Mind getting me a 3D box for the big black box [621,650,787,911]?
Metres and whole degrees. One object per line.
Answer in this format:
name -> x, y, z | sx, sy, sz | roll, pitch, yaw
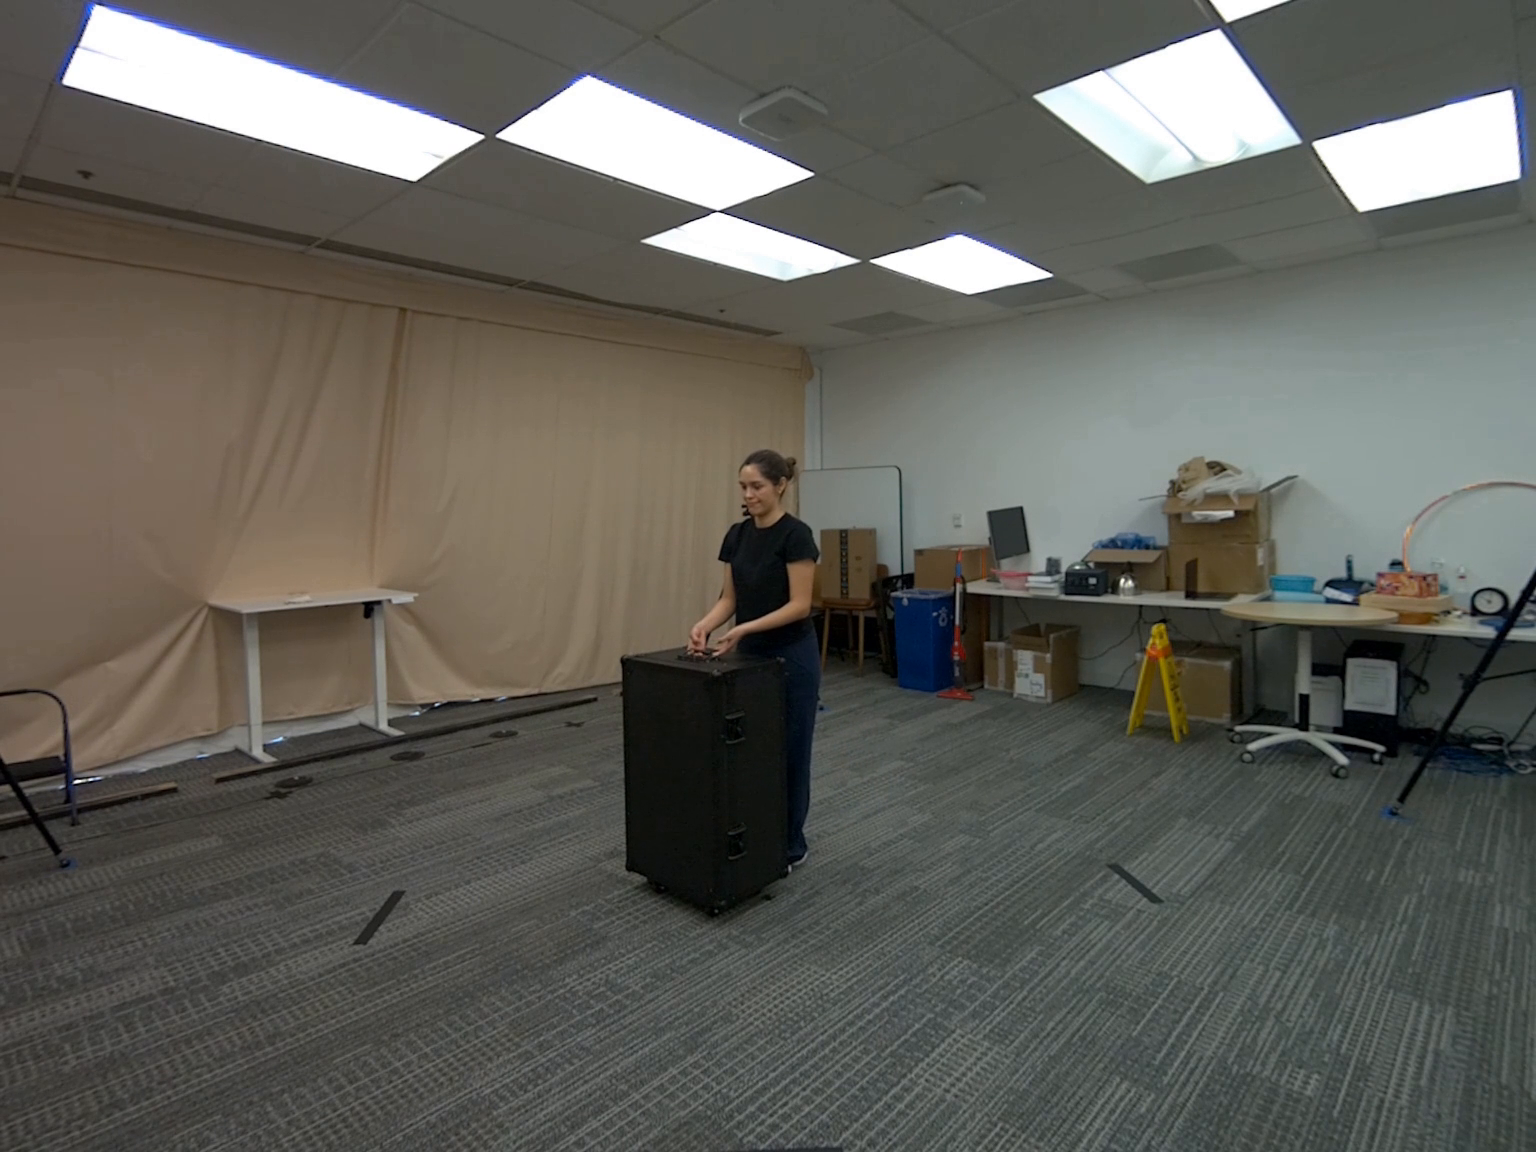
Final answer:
big black box -> -0.213, 0.714, 3.031 | 0.538, 0.860, 0.384 | 2, 3, 41
